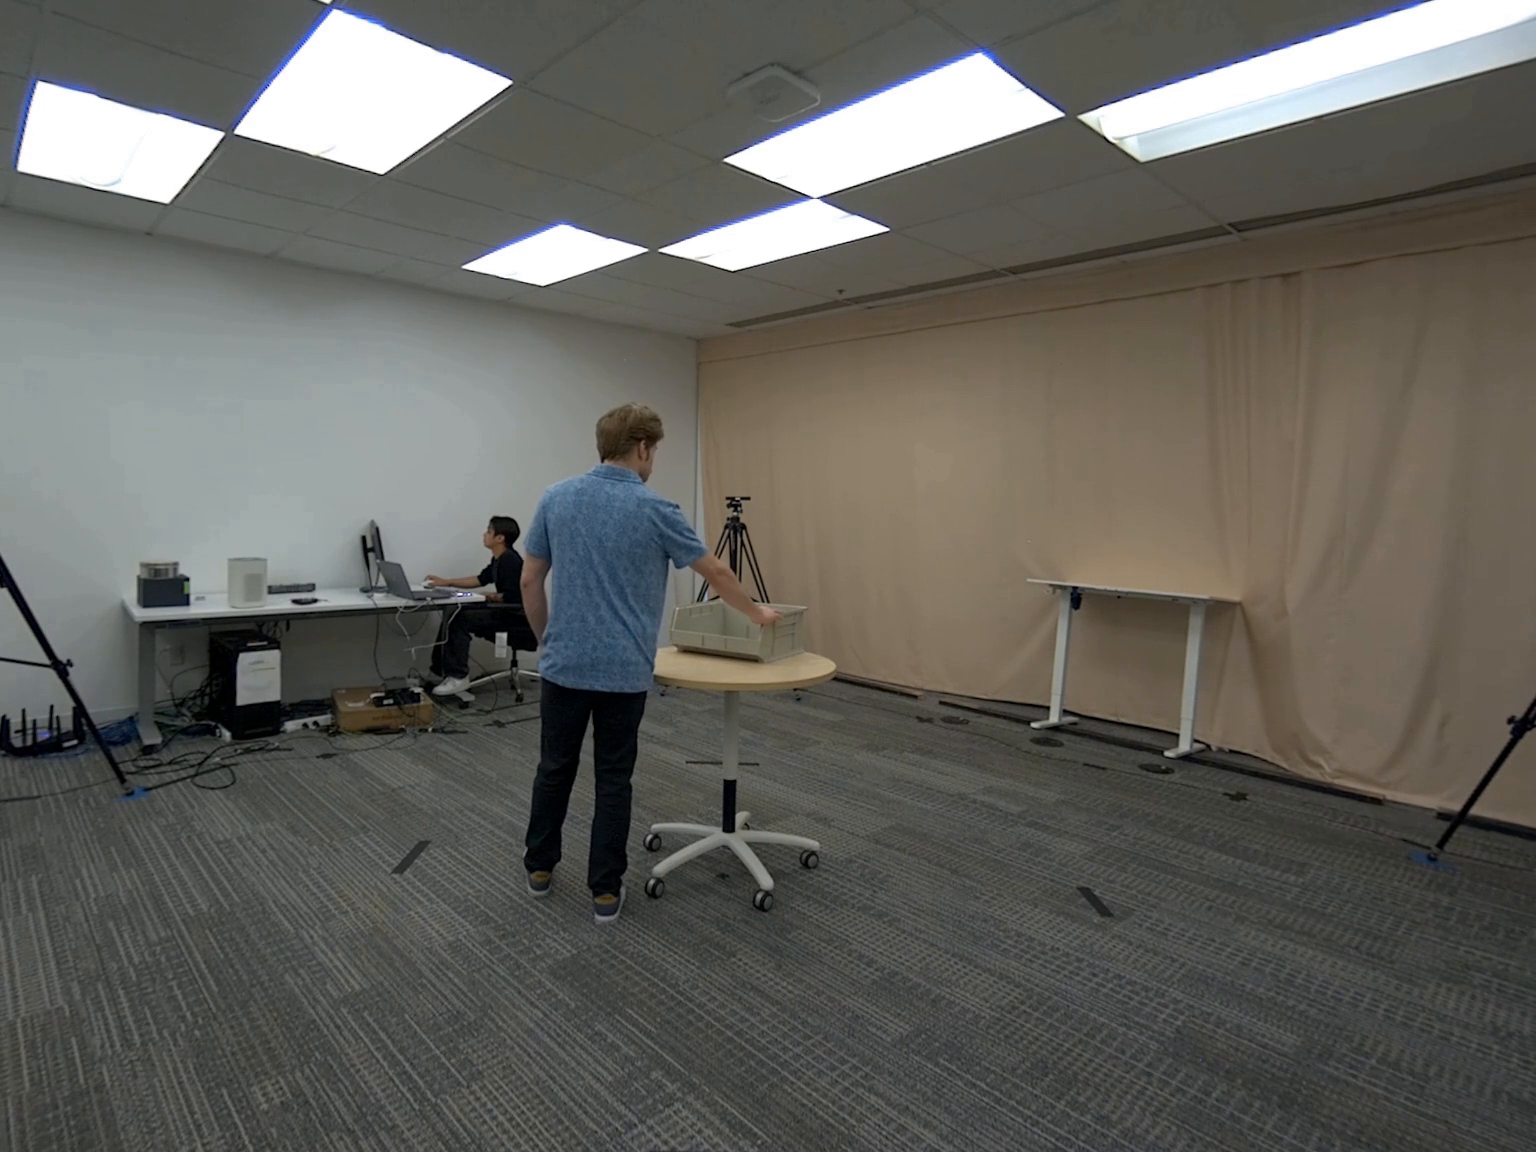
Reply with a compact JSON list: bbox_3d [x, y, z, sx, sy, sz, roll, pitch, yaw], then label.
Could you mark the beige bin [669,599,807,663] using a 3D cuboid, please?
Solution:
[{"bbox_3d":[-0.122,0.215,3.341,0.432,0.189,0.369,4,4,31],"label":"beige bin"}]
